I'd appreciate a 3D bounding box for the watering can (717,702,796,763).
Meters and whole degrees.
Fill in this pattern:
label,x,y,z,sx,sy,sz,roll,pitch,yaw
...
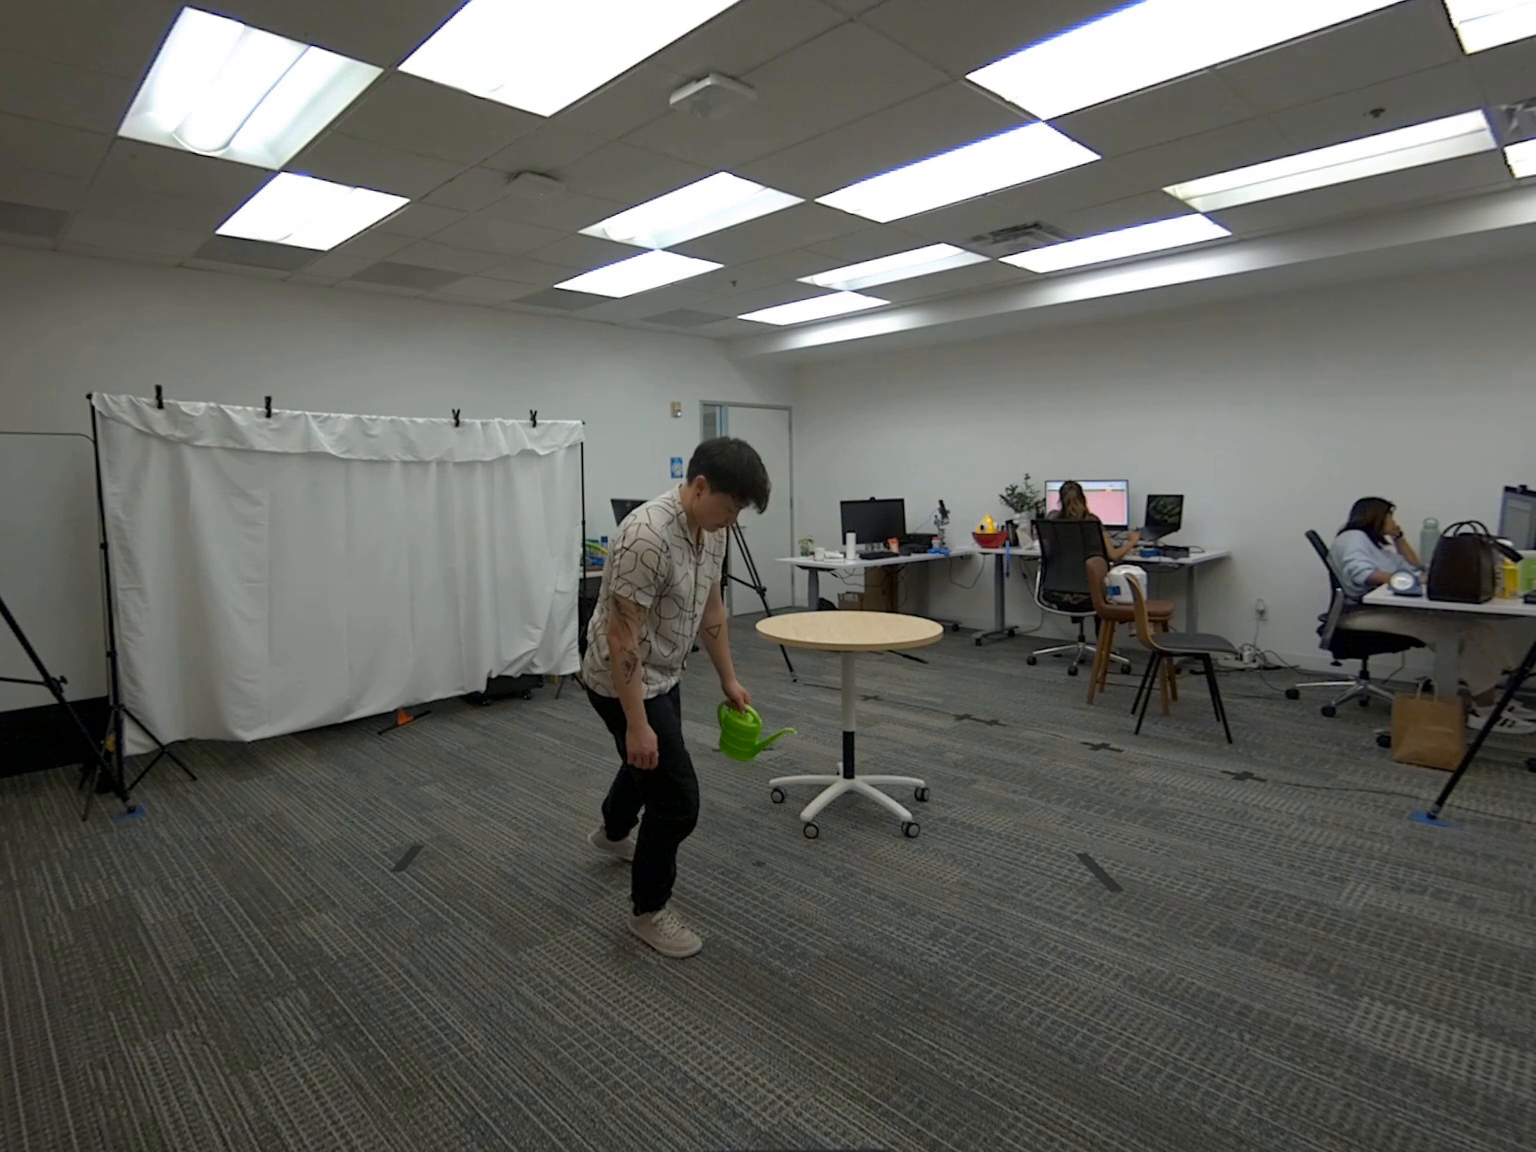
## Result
label,x,y,z,sx,sy,sz,roll,pitch,yaw
watering can,-0.057,0.505,2.683,0.096,0.174,0.289,-10,29,-44
